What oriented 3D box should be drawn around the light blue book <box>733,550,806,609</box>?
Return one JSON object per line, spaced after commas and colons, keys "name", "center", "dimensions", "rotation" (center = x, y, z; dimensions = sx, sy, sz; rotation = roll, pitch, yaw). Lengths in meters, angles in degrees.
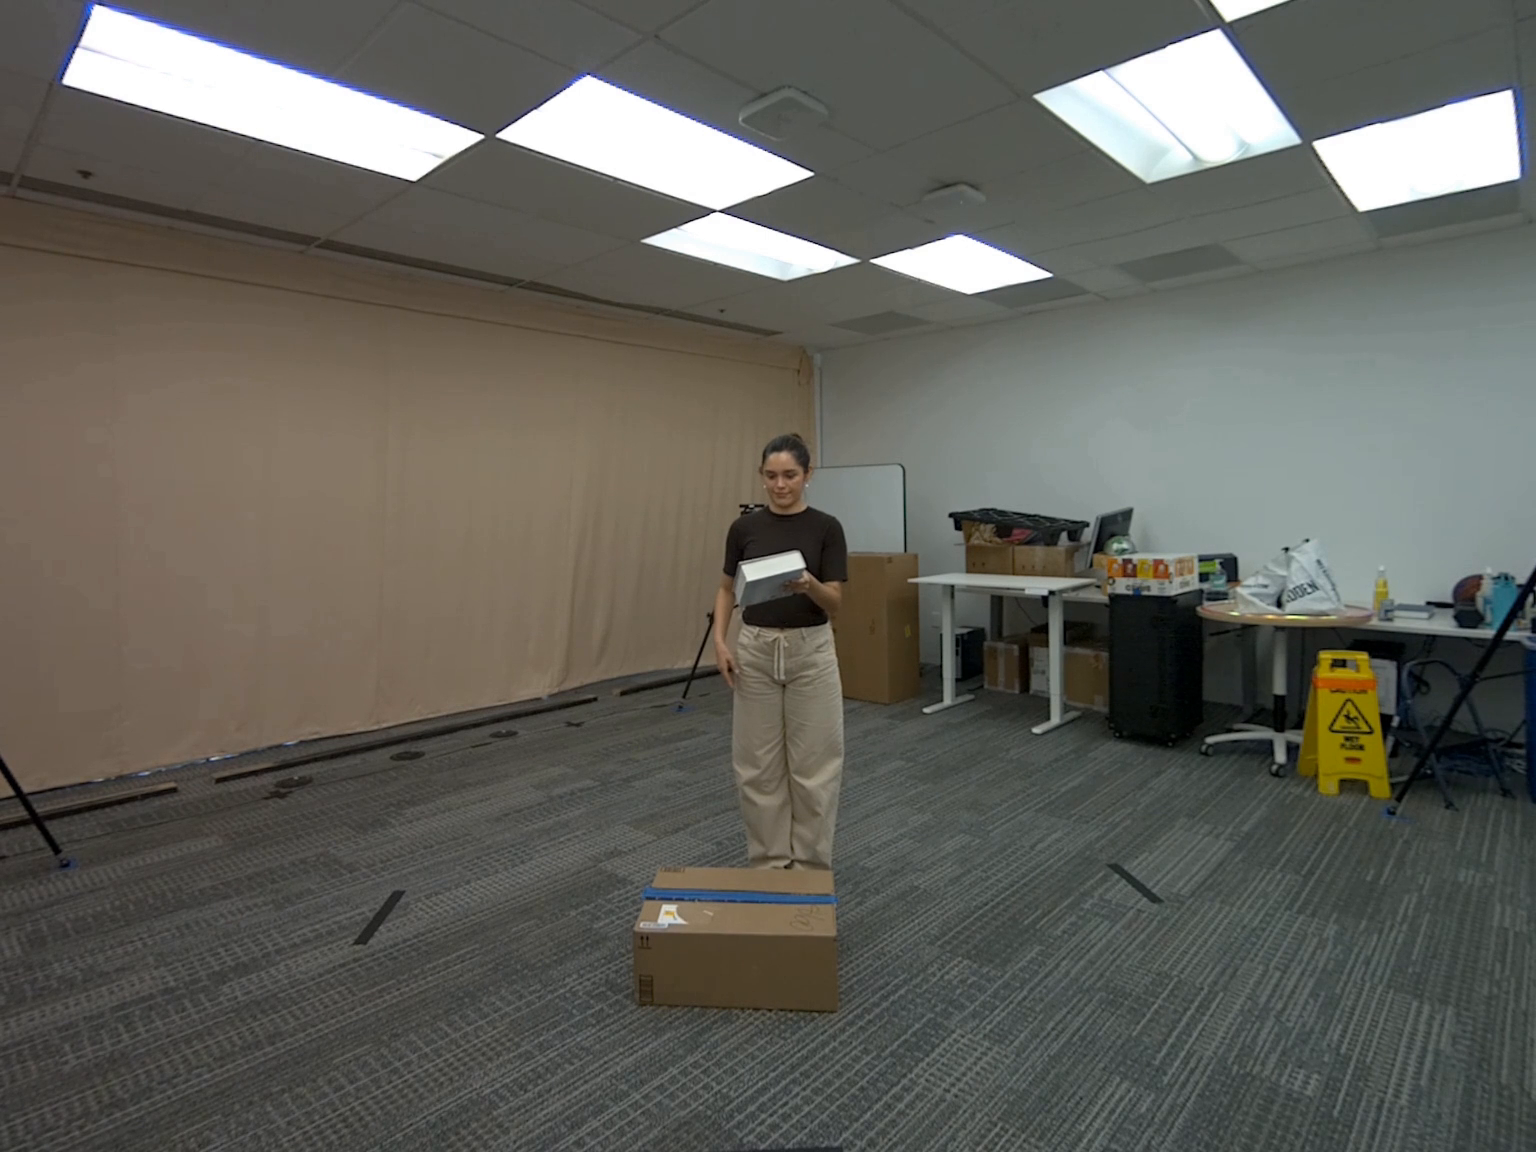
{"name": "light blue book", "center": [-0.027, 0.011, 2.597], "dimensions": [0.190, 0.060, 0.259], "rotation": [-11, -17, -8]}
